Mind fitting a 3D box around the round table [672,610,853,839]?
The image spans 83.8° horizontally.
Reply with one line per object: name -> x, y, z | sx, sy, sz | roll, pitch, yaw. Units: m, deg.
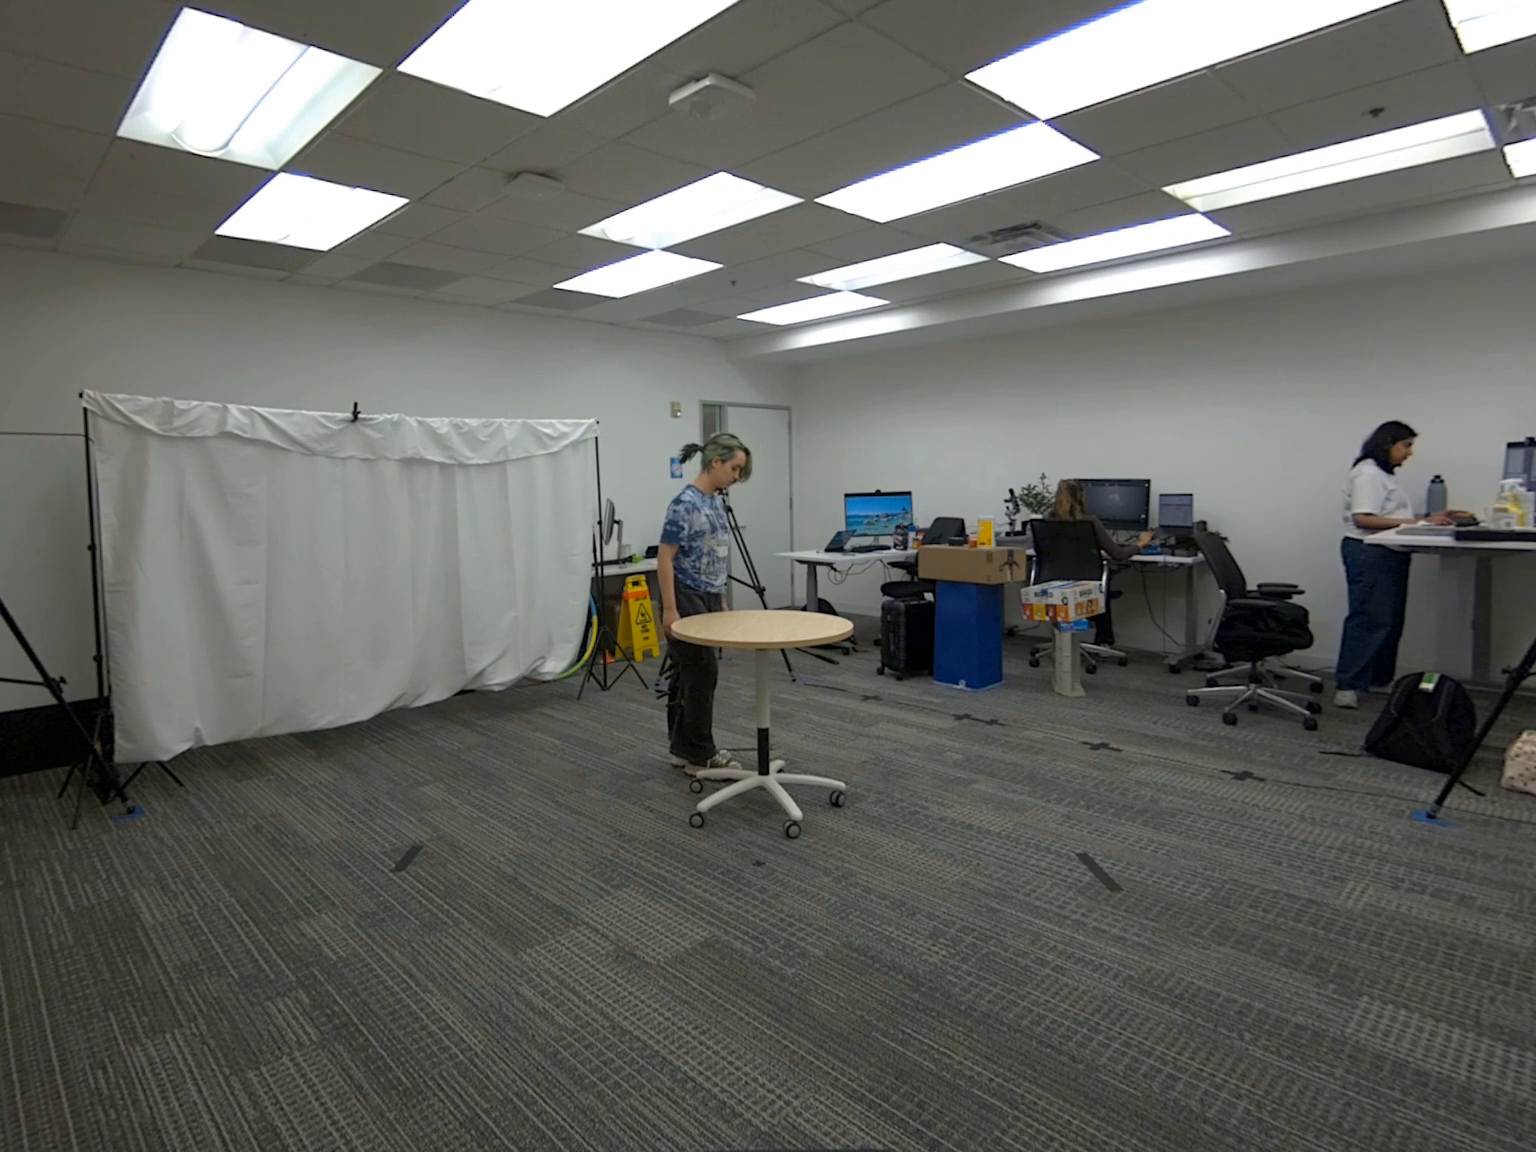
round table -> -0.022, 0.597, 3.622 | 0.763, 0.791, 0.768 | -1, 5, -2
